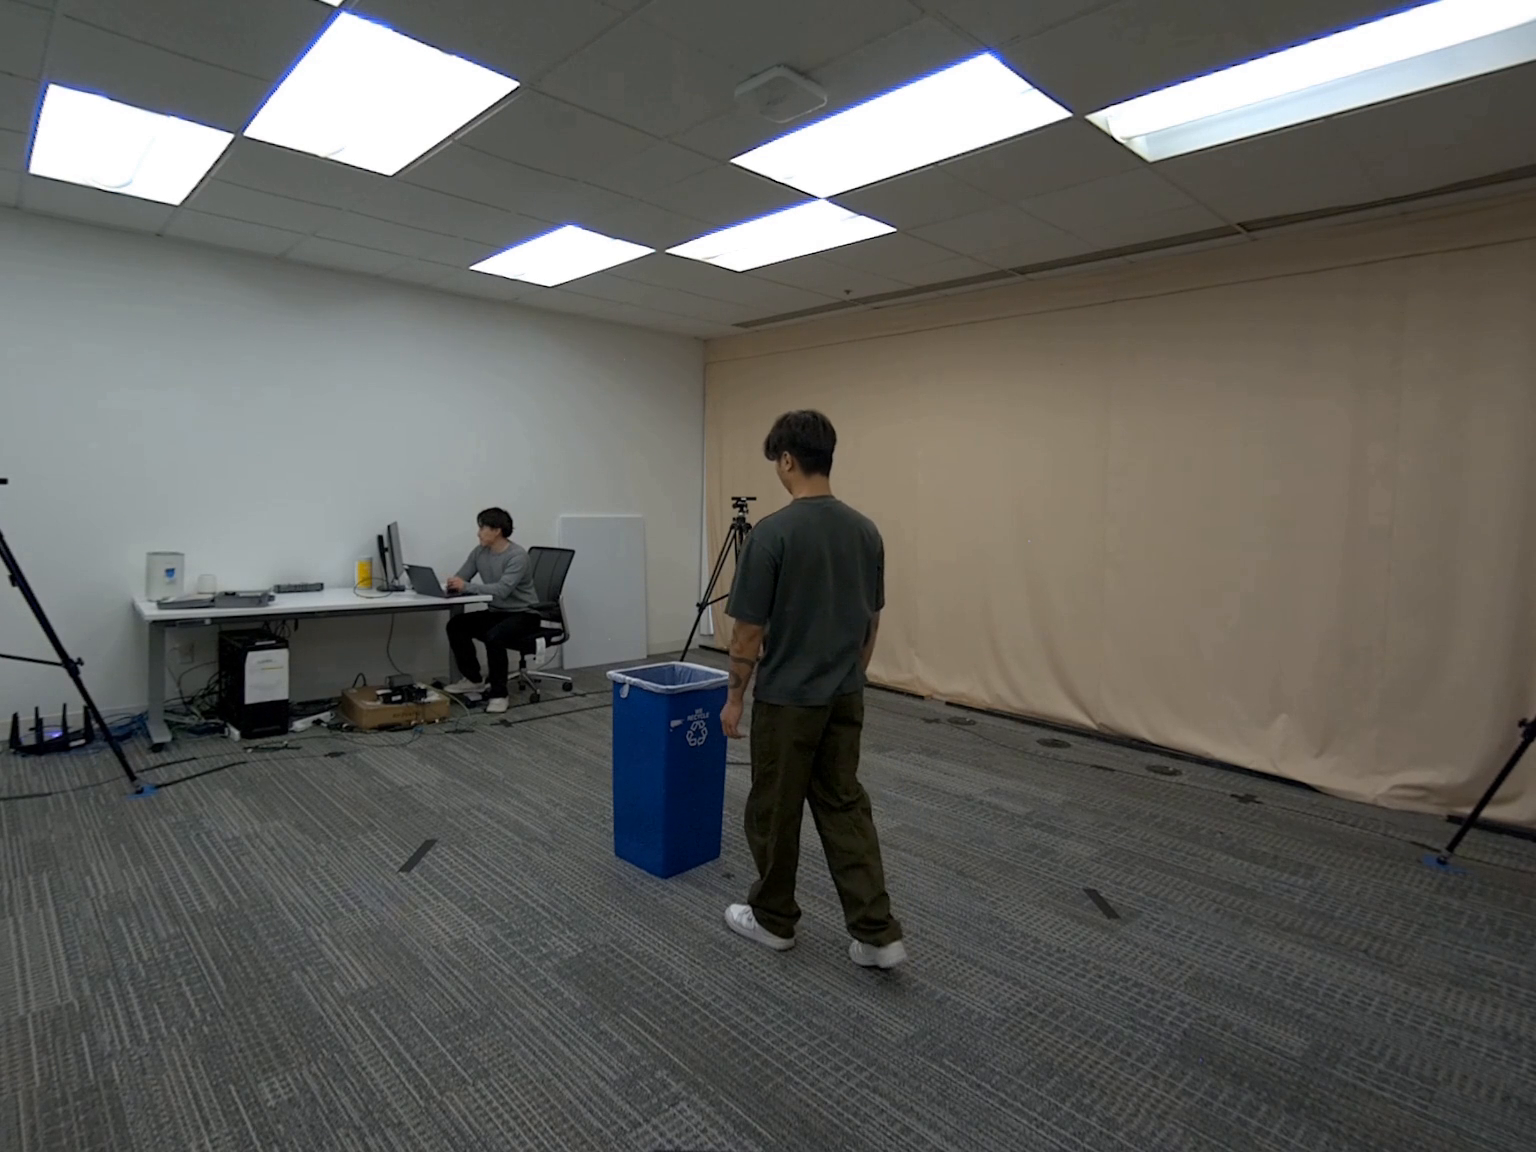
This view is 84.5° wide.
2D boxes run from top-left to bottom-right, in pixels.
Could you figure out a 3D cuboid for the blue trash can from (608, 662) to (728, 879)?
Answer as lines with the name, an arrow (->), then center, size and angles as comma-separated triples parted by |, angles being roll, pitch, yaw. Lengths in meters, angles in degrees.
blue trash can -> -0.394, 0.730, 3.254 | 0.384, 0.712, 0.369 | 6, 5, 42
